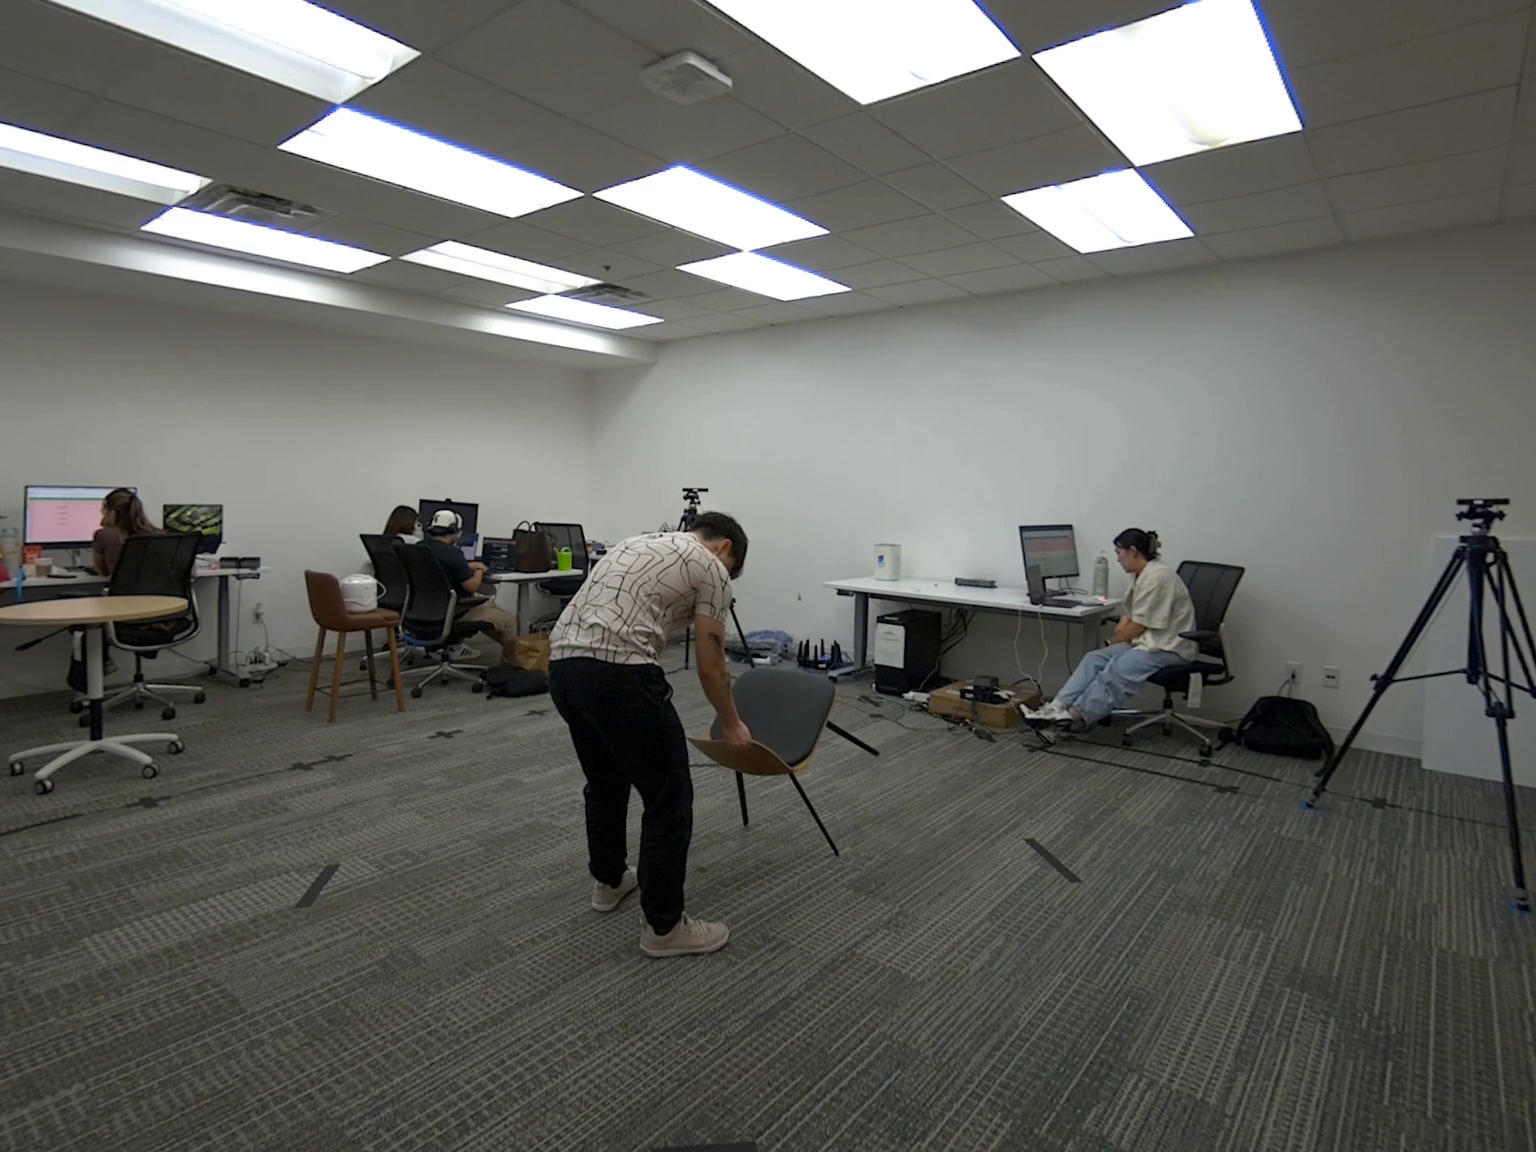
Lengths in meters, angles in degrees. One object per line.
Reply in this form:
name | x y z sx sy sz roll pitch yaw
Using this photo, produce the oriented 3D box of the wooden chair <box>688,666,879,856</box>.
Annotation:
wooden chair | 0.007 0.593 3.256 0.494 0.527 0.841 5 -35 38
